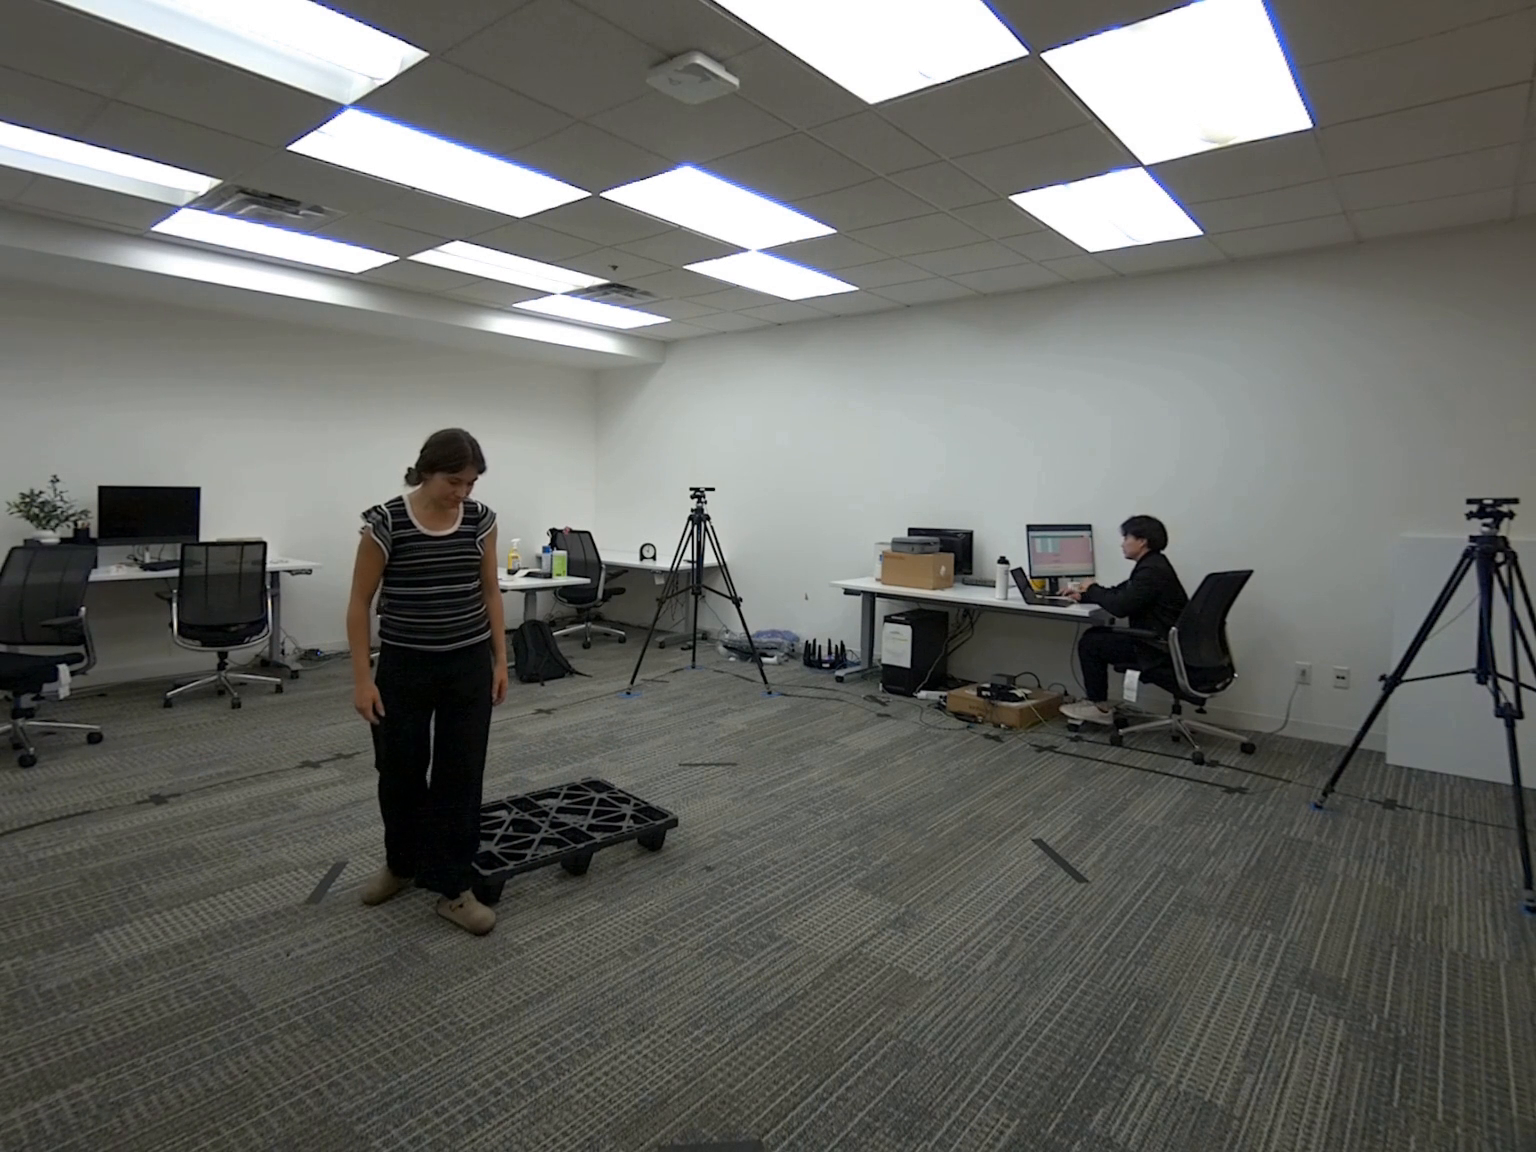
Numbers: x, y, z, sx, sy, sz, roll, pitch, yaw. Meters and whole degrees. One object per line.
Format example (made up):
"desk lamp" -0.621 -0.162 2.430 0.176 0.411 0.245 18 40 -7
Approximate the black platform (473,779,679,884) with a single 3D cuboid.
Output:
"black platform" -0.843 0.979 3.218 0.781 0.143 0.625 -4 6 -42
